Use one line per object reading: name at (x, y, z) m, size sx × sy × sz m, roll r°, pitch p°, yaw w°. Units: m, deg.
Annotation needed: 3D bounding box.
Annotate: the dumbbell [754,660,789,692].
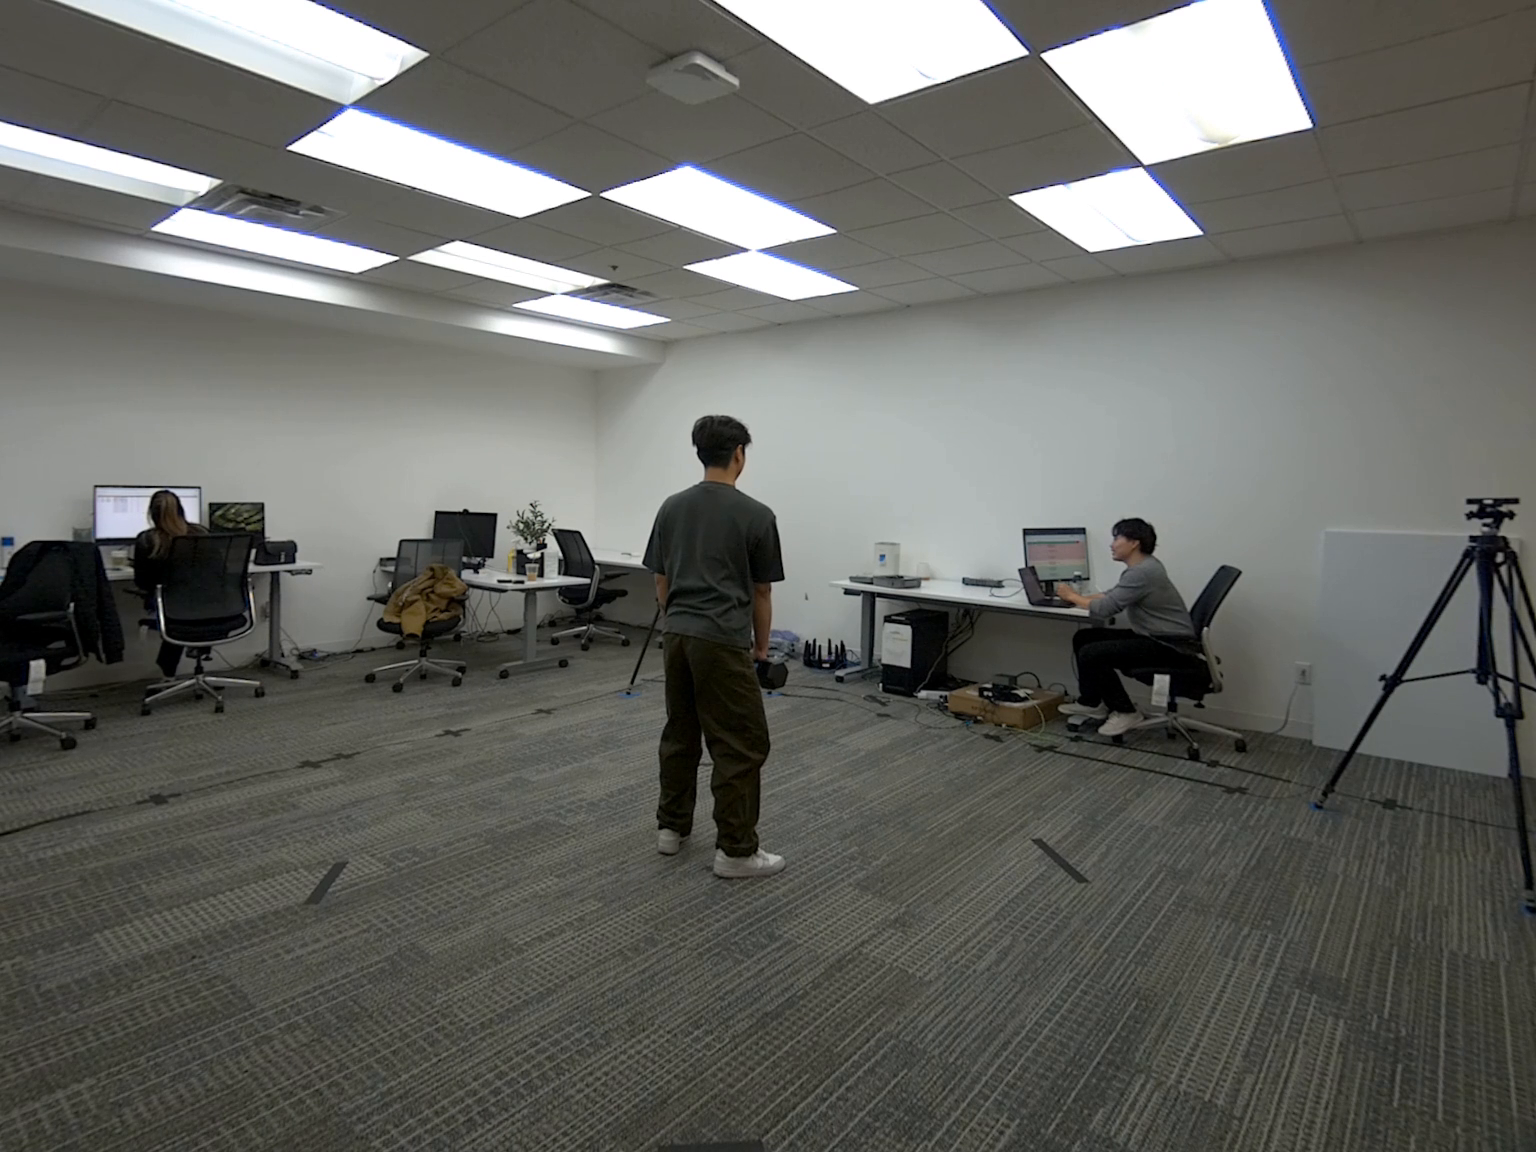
dumbbell at (-0.079, 0.363, 3.260) m, size 0.303 × 0.124 × 0.104 m, roll 3°, pitch -22°, yaw 44°
